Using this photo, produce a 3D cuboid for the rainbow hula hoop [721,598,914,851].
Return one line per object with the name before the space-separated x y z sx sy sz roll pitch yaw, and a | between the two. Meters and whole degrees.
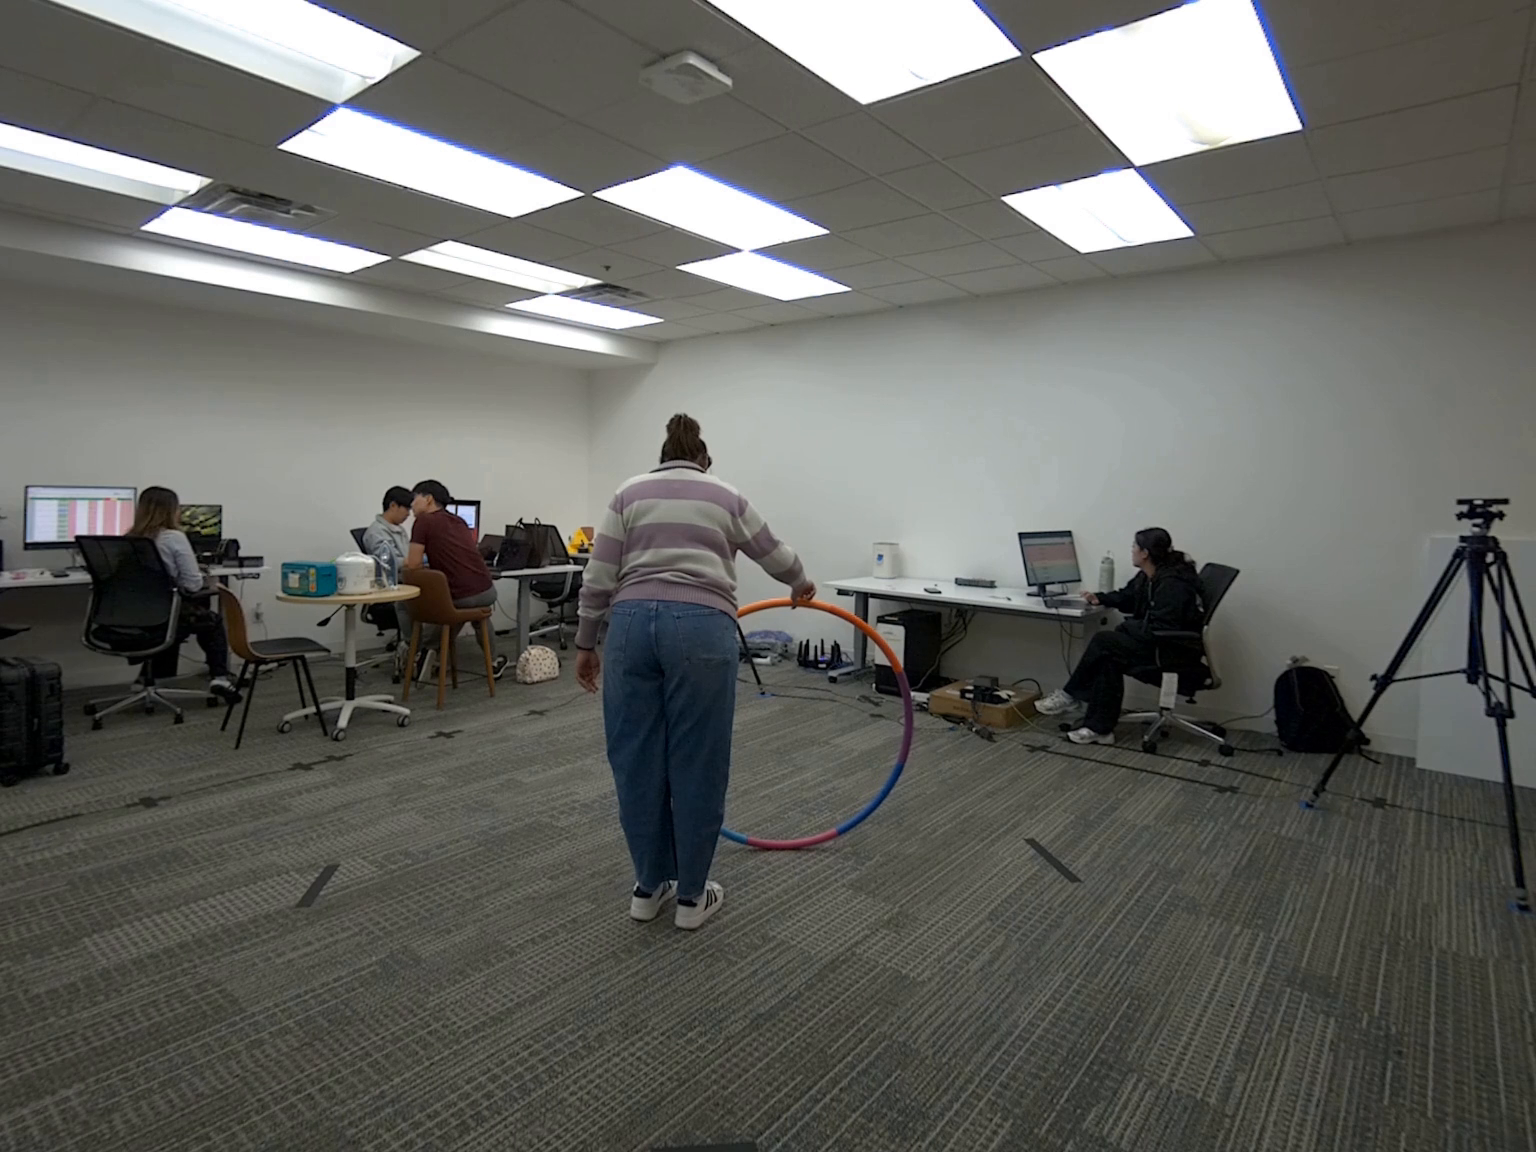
rainbow hula hoop | 0.066 0.573 3.256 0.974 0.973 0.036 1 6 -4
